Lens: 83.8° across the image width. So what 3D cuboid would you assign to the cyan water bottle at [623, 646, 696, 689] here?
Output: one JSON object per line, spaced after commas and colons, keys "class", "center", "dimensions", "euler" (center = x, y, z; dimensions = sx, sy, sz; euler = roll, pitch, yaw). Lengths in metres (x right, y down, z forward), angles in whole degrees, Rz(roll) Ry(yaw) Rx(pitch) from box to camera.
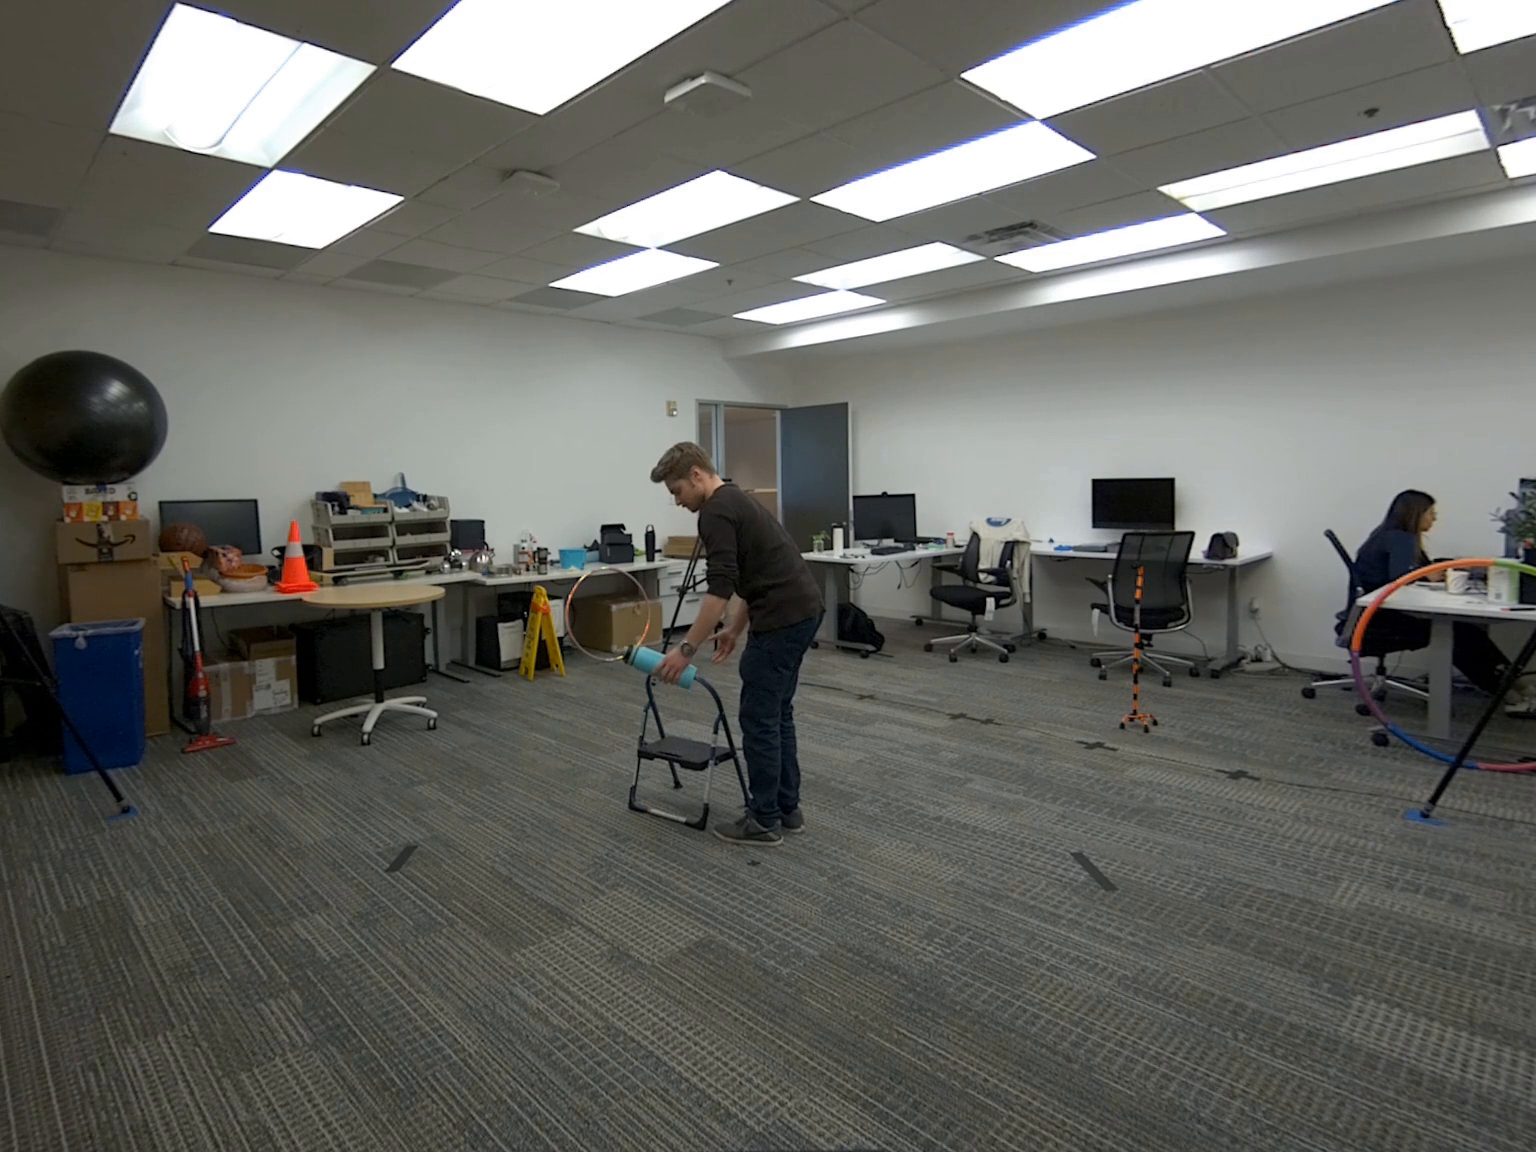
{"class": "cyan water bottle", "center": [-0.409, 0.336, 3.201], "dimensions": [0.284, 0.092, 0.092], "euler": [21, 5, 1]}
